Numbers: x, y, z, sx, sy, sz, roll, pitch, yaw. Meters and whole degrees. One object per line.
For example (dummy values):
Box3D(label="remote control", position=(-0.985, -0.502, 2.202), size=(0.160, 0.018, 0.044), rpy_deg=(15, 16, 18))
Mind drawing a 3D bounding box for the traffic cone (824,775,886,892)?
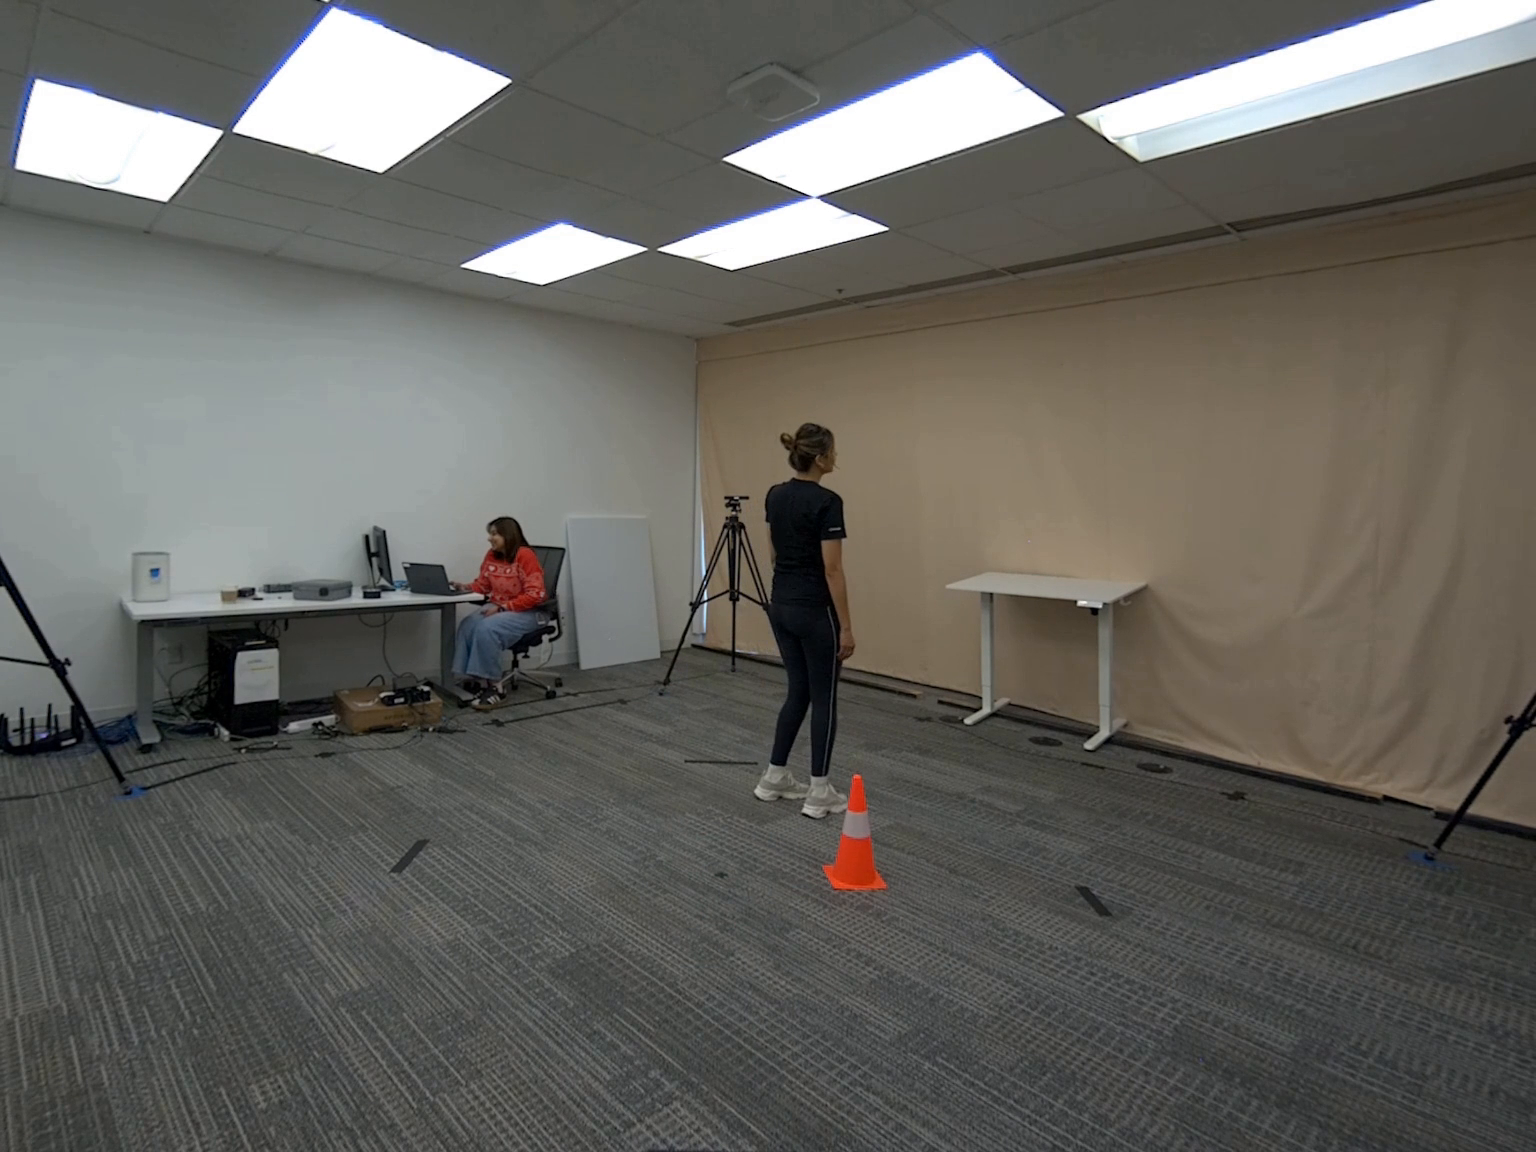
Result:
Box3D(label="traffic cone", position=(0.318, 0.930, 3.107), size=(0.202, 0.383, 0.206), rpy_deg=(3, 3, -7))
